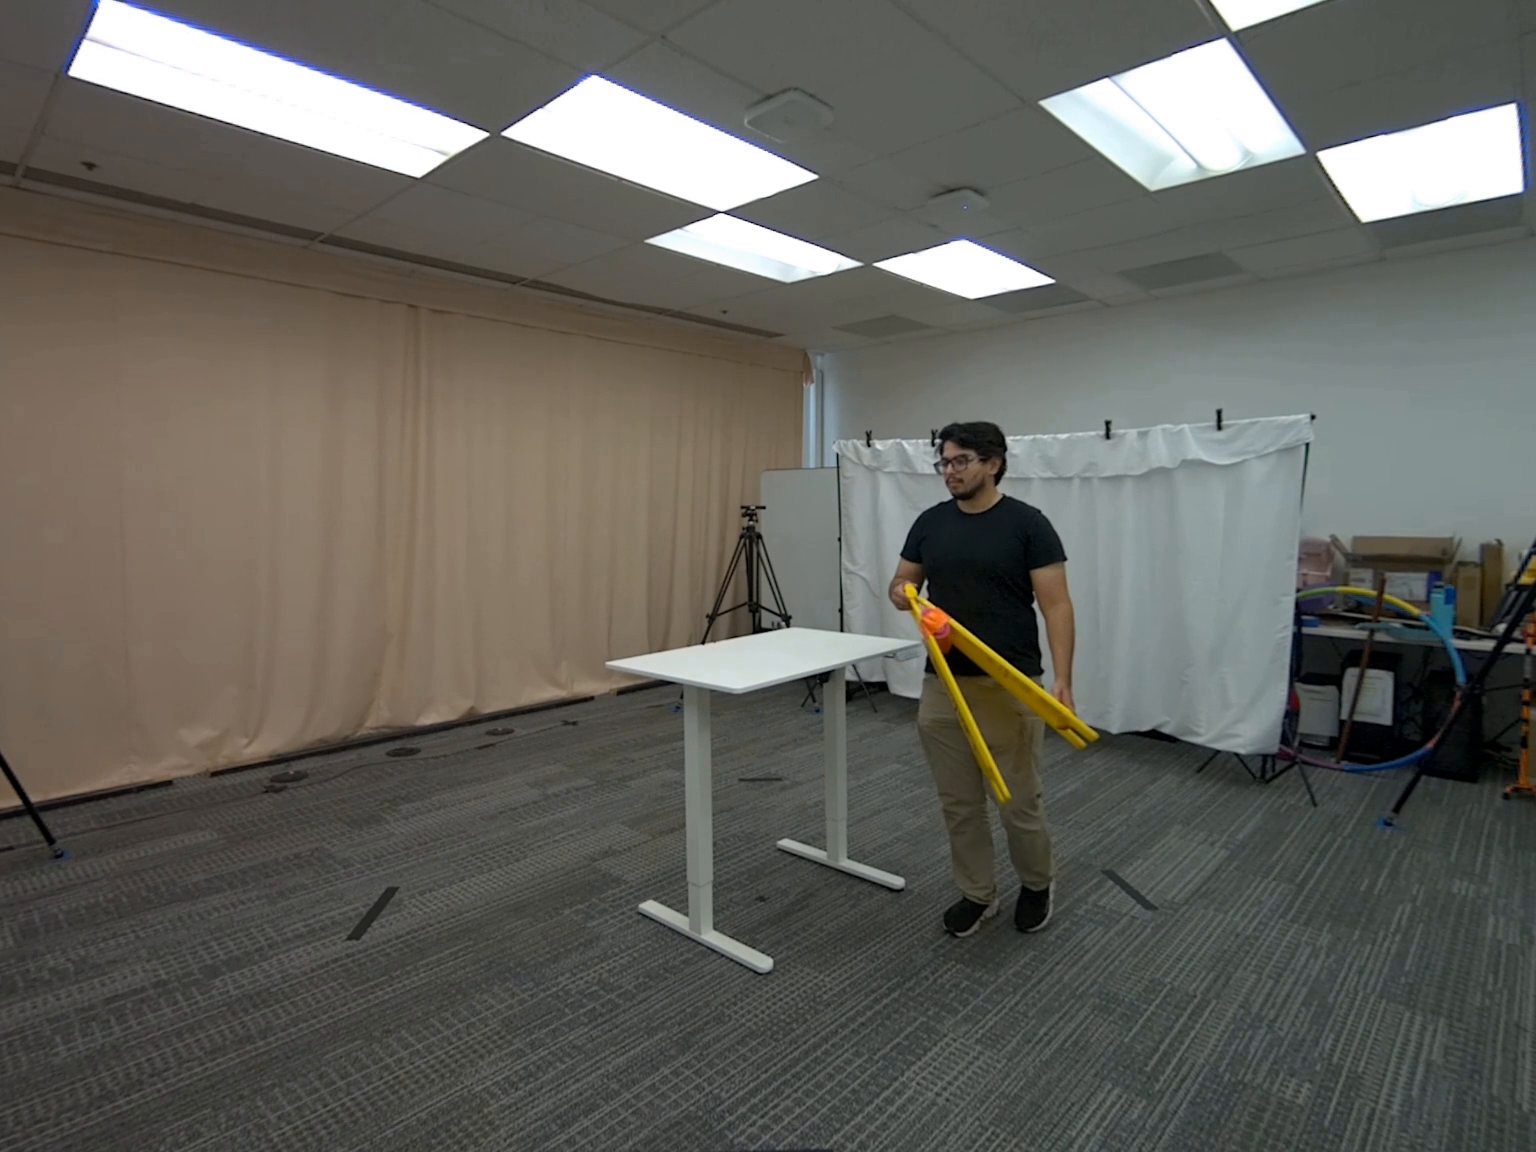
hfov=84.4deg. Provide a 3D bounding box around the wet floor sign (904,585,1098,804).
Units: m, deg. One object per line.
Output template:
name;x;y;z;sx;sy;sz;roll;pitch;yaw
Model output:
wet floor sign;0.609;0.304;2.473;0.290;0.662;0.275;-36;-23;-1
